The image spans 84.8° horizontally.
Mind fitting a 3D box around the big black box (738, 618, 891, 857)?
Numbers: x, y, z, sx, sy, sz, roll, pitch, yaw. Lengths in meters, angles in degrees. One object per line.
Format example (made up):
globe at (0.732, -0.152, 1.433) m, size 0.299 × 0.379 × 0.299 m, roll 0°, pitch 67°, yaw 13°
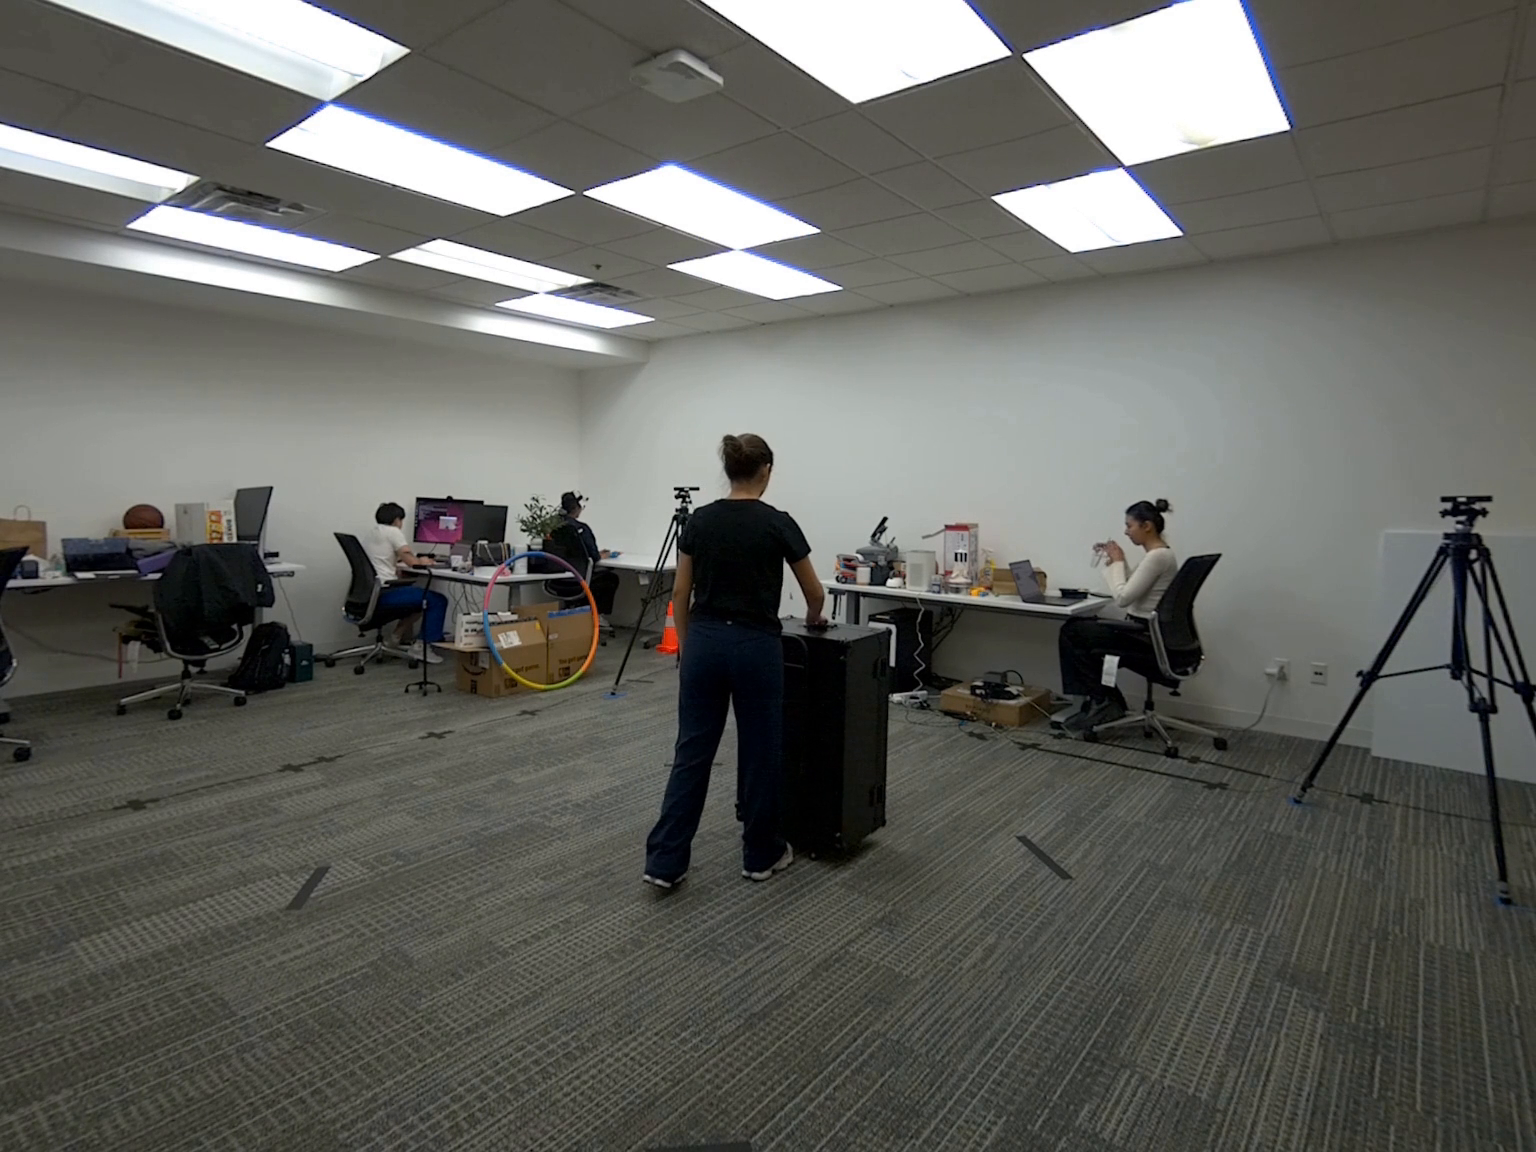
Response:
big black box at (0.194, 0.623, 3.360) m, size 0.538 × 0.858 × 0.385 m, roll 4°, pitch 5°, yaw 37°
